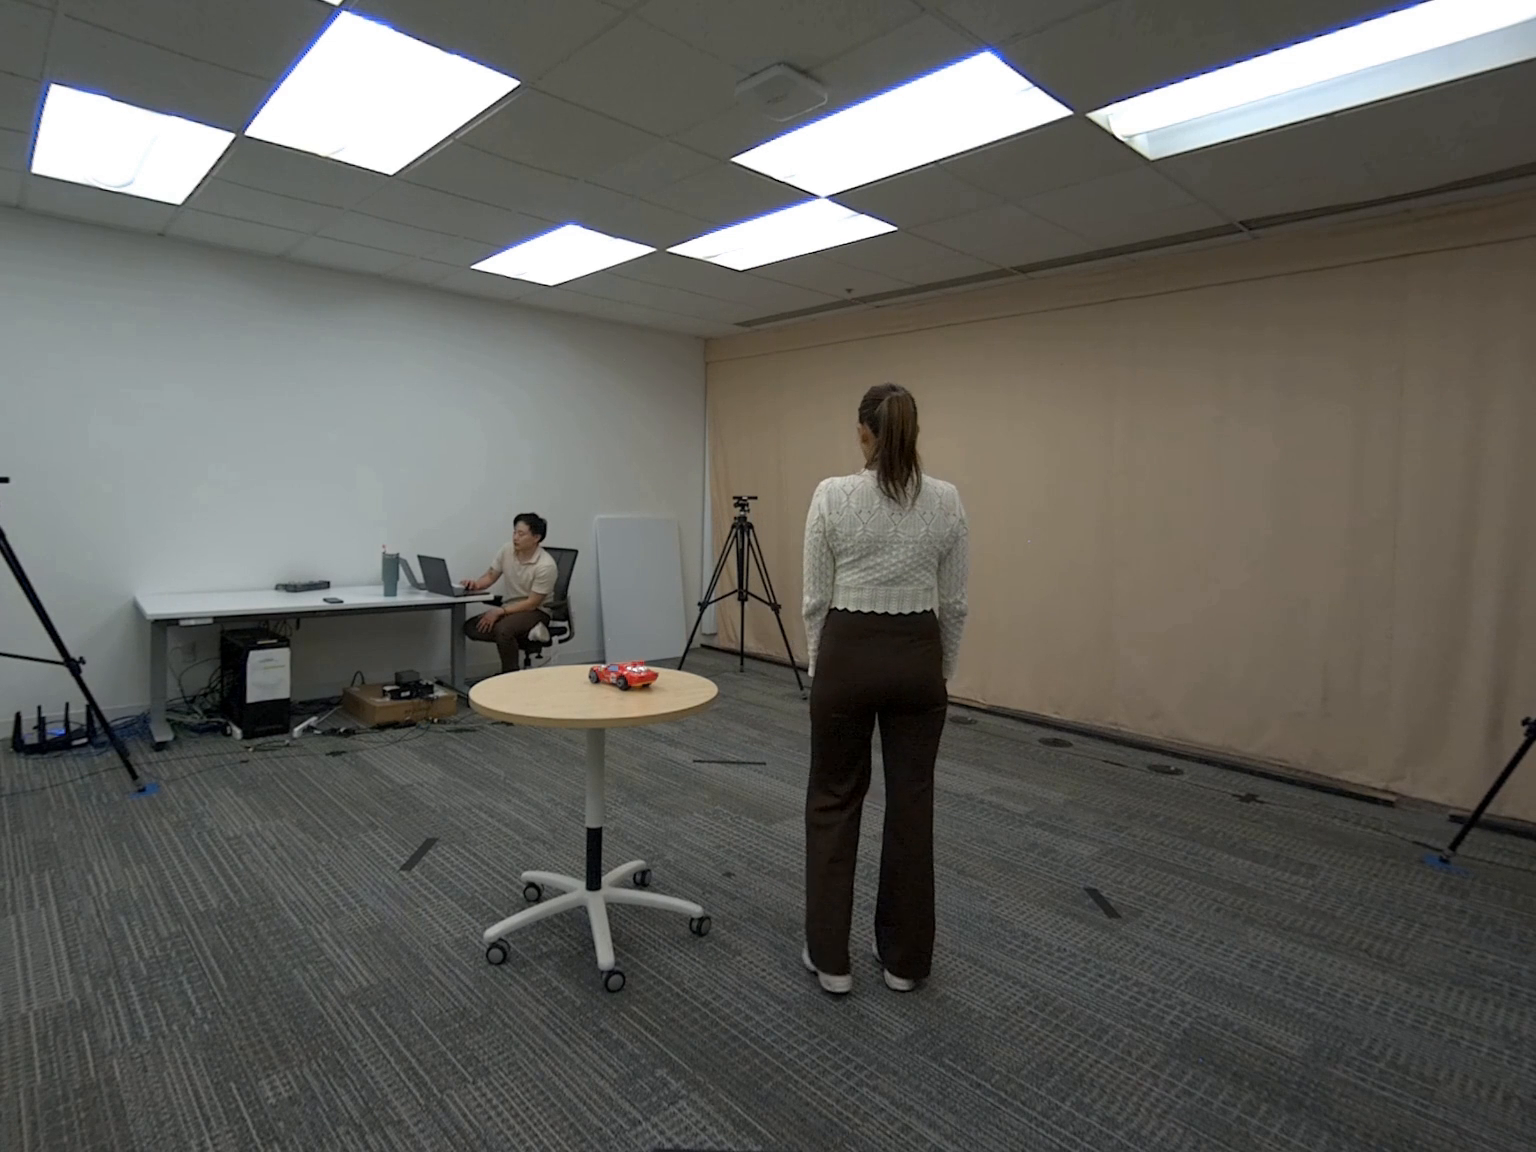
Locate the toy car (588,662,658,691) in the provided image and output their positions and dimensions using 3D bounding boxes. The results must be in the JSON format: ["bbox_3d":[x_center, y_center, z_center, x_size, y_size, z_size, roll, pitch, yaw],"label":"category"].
[{"bbox_3d":[-0.468,0.322,2.675,0.259,0.083,0.127,-9,-3,42],"label":"toy car"}]
